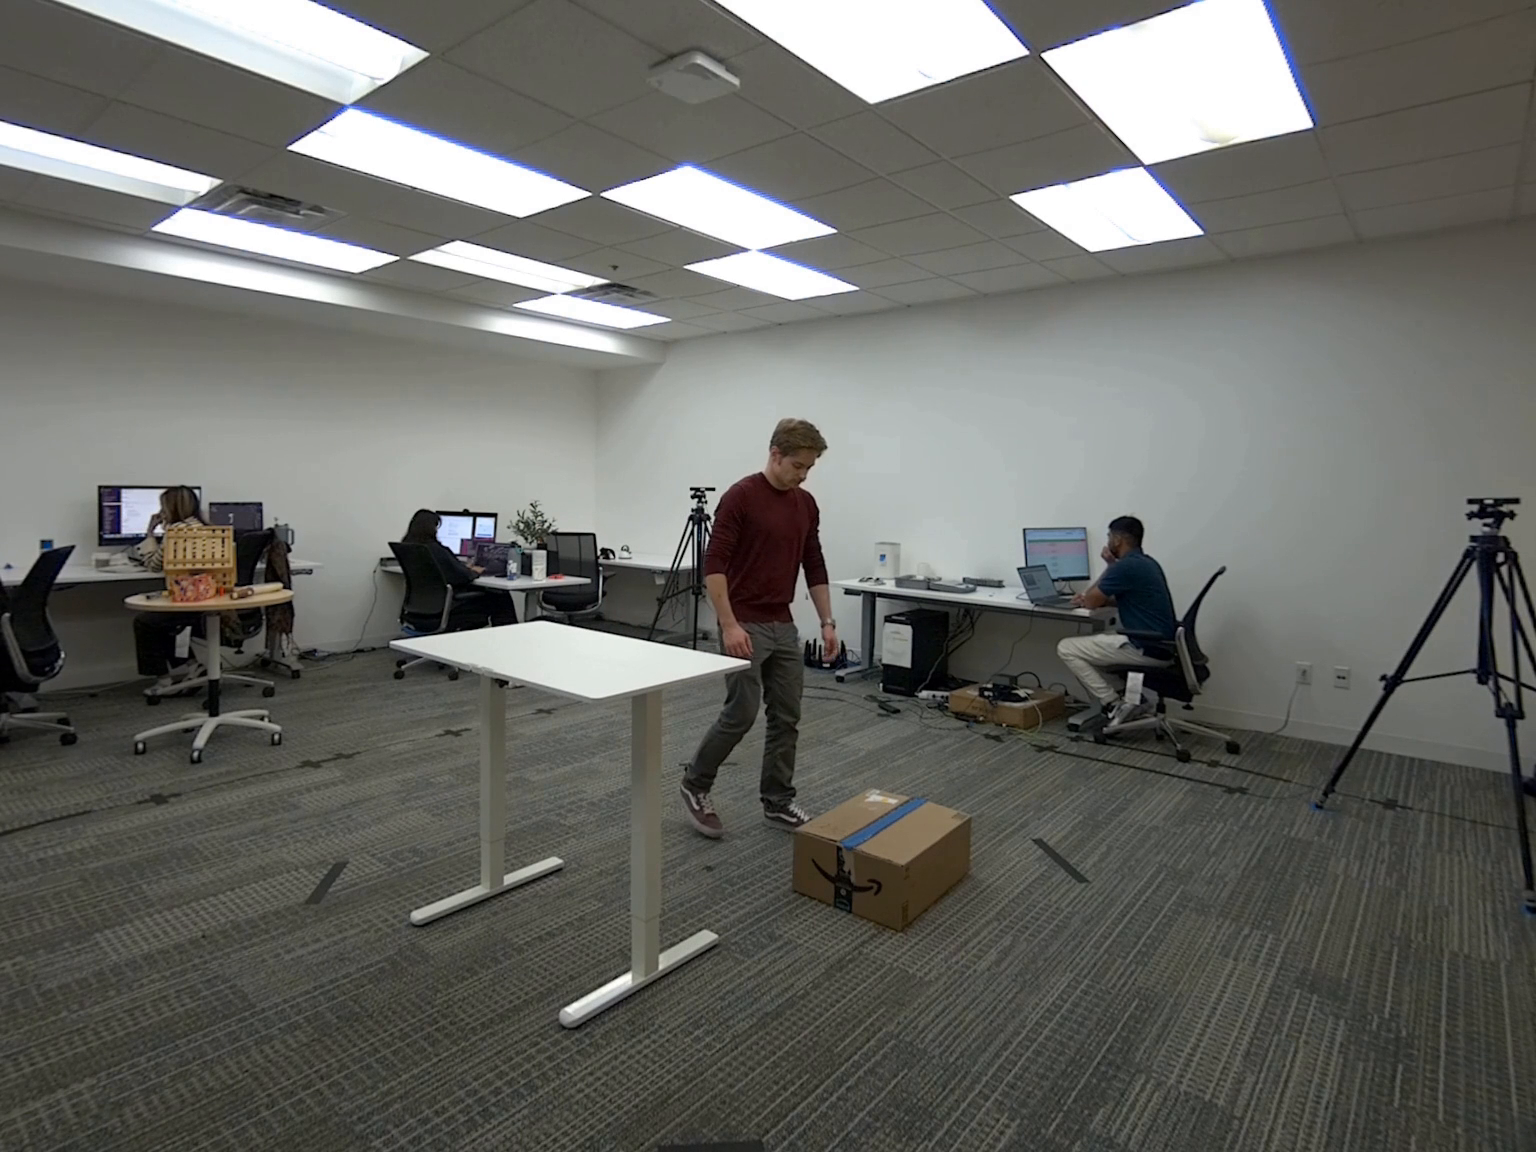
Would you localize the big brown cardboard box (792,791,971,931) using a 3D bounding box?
[{"bbox_3d":[0.412,0.978,3.032,0.431,0.232,0.572,5,7,36],"label":"big brown cardboard box"}]
